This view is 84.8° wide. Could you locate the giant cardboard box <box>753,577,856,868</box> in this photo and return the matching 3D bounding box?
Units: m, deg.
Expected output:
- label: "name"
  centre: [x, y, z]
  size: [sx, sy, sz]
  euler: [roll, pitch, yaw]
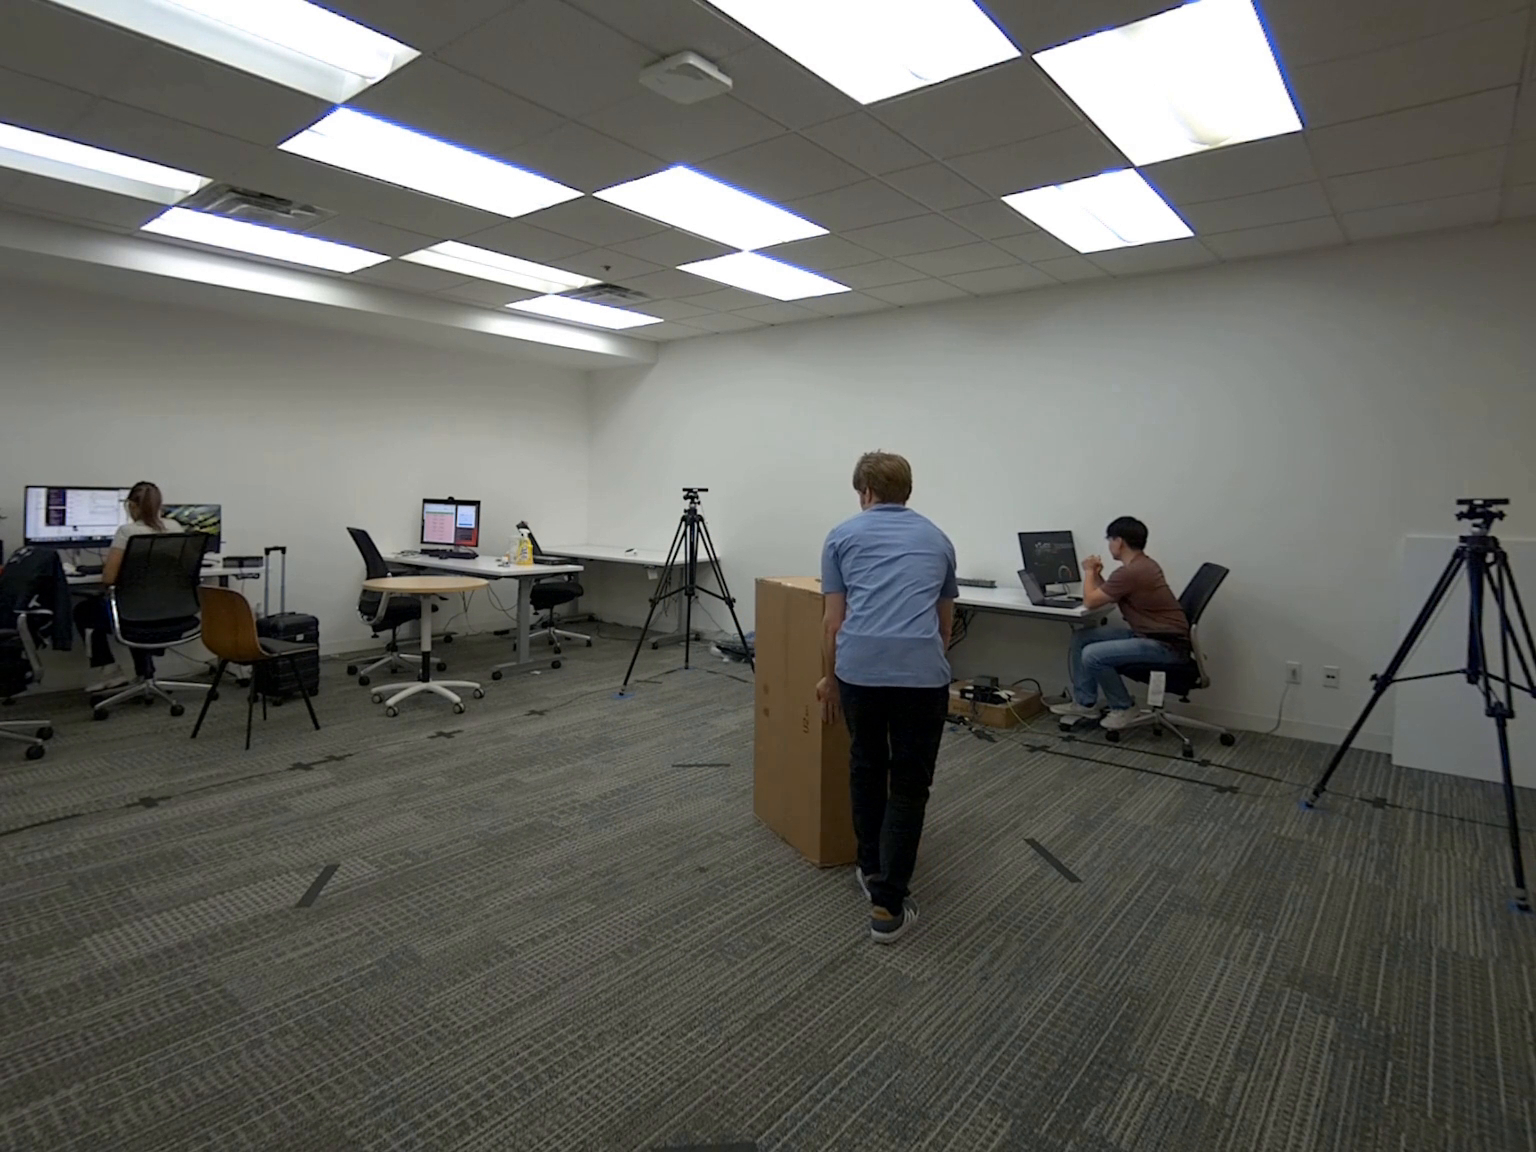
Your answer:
- label: "giant cardboard box"
  centre: [0.244, 0.535, 3.454]
  size: [0.416, 1.023, 0.593]
  euler: [-1, 3, -25]
